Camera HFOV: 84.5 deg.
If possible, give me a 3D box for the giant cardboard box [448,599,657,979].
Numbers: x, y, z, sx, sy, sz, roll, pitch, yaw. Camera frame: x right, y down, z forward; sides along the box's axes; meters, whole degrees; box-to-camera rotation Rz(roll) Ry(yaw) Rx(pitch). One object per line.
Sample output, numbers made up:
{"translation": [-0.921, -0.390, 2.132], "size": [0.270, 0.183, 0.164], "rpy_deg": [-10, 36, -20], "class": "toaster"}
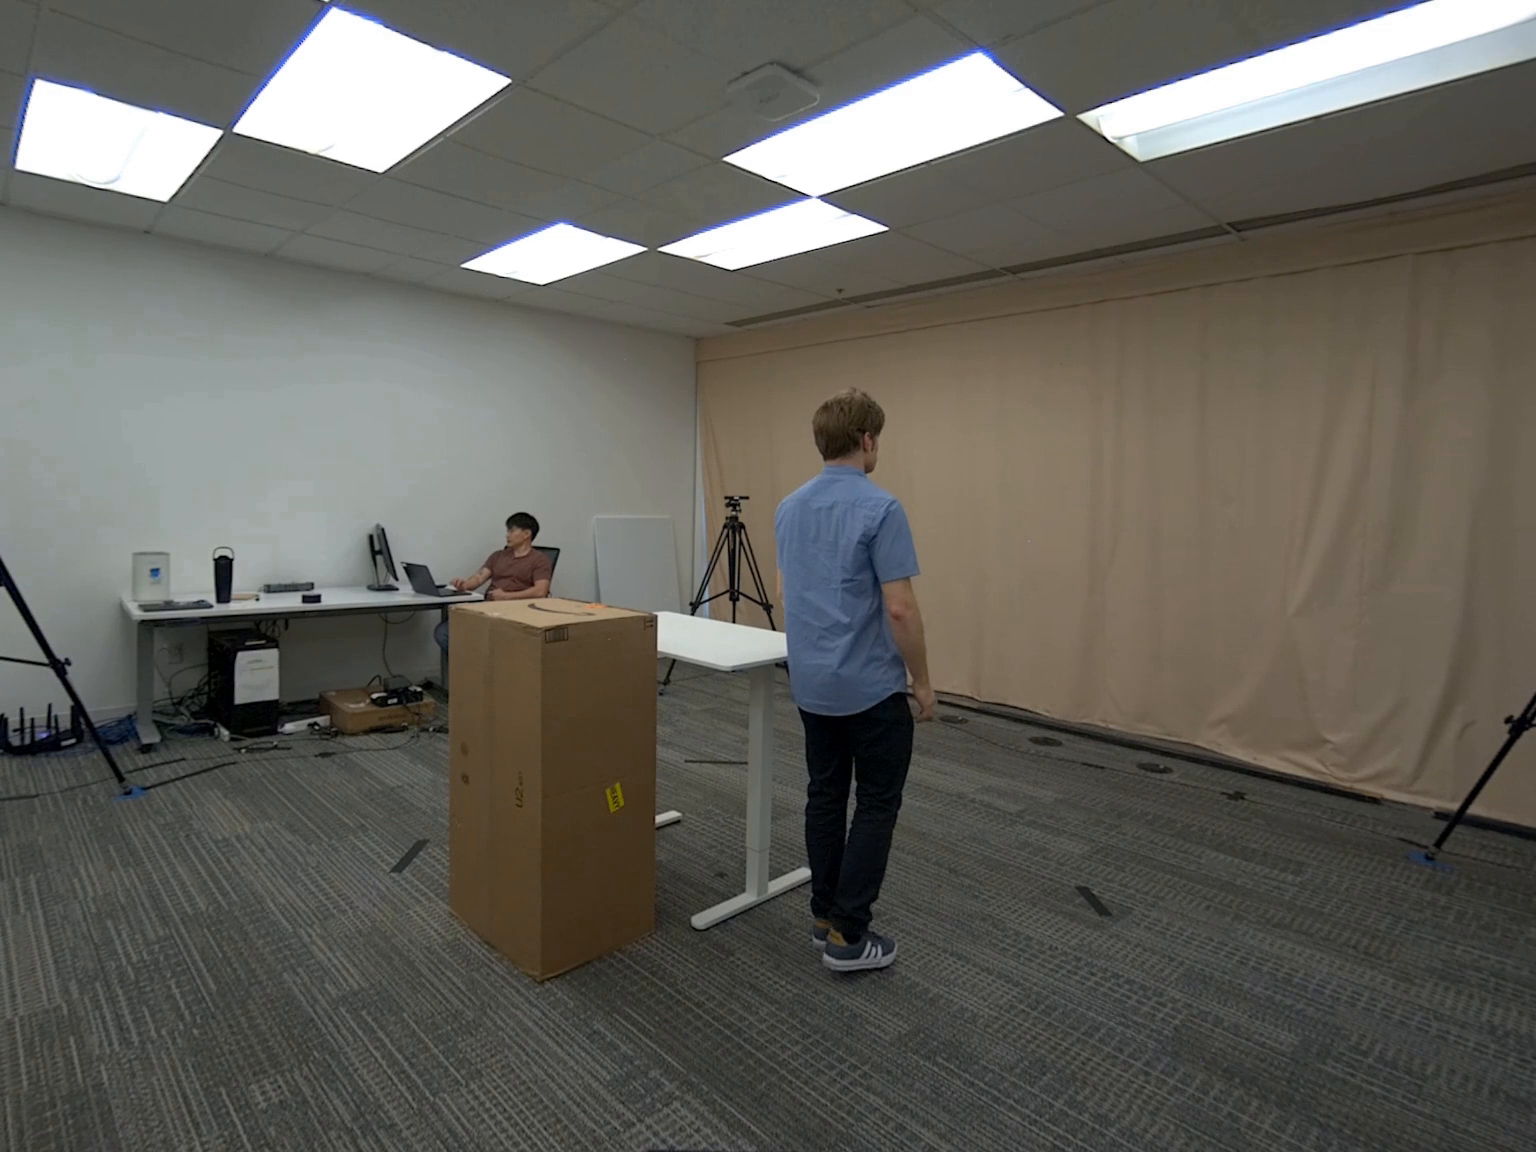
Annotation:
{"translation": [-0.703, 0.615, 2.717], "size": [0.592, 1.023, 0.416], "rpy_deg": [4, 4, 45], "class": "giant cardboard box"}
